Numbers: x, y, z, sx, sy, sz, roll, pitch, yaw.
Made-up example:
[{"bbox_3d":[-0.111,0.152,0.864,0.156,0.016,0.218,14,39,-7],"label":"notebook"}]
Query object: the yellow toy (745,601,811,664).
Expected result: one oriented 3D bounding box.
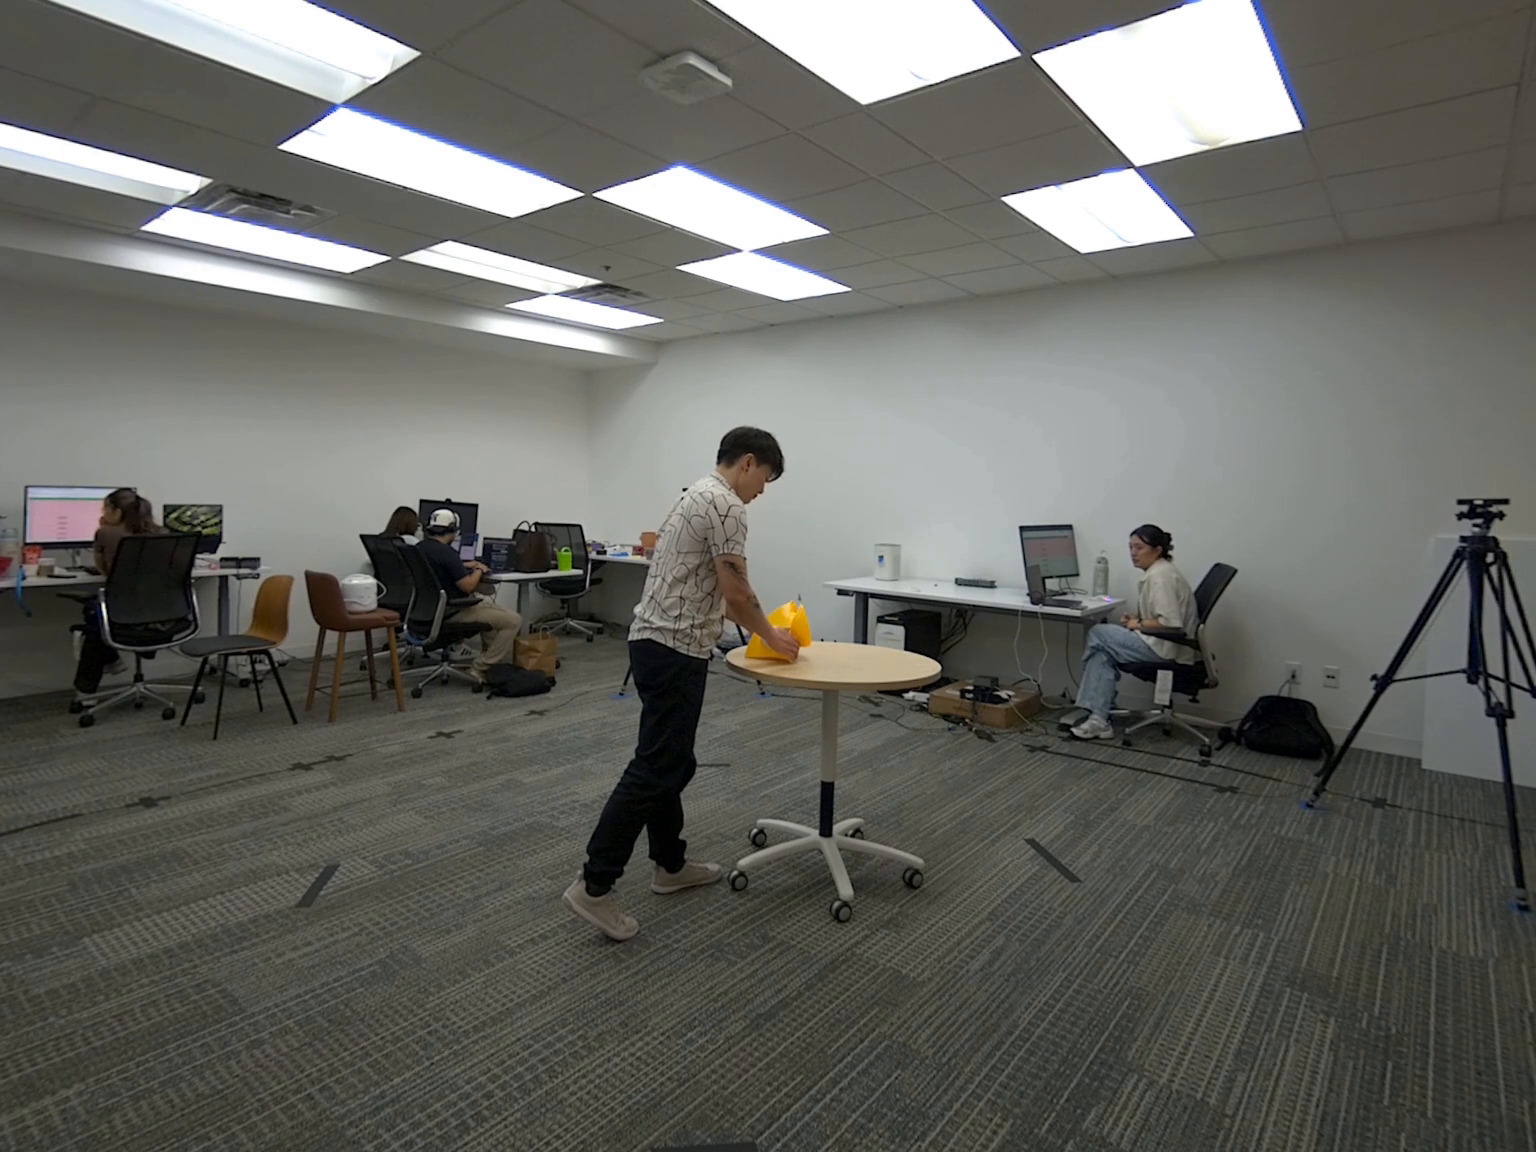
[{"bbox_3d":[0.009,0.208,3.066,0.229,0.192,0.208,-12,6,-11],"label":"yellow toy"}]
